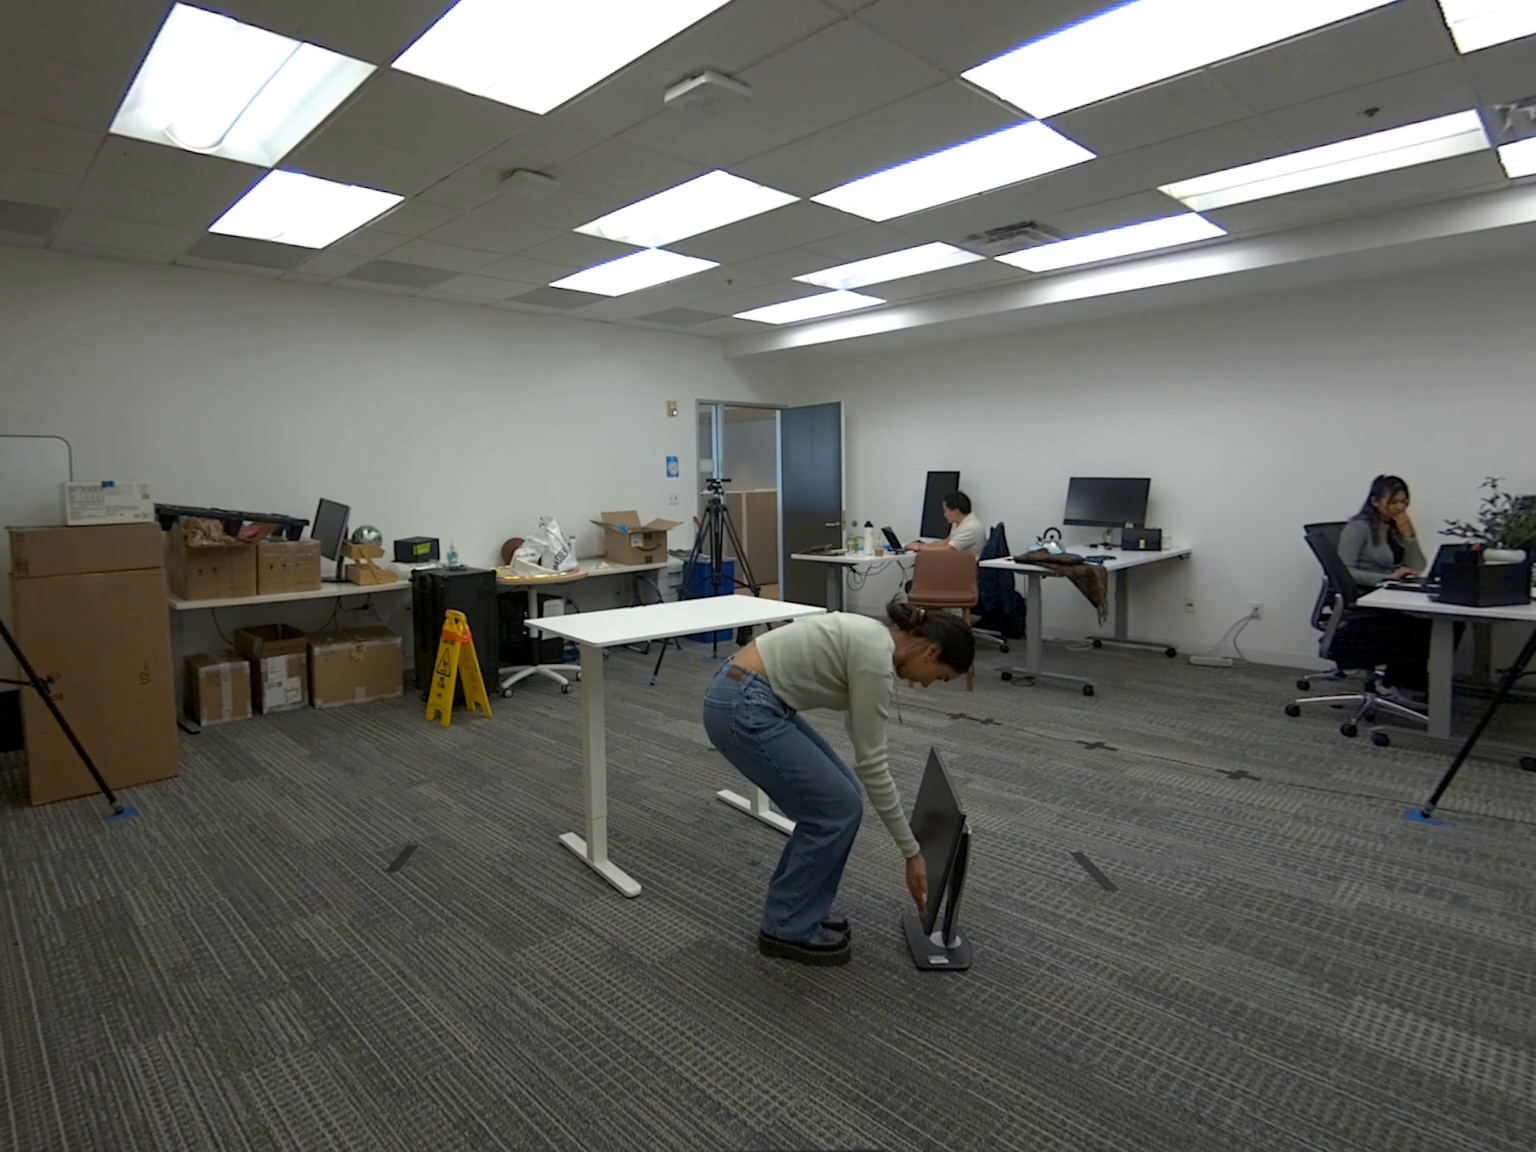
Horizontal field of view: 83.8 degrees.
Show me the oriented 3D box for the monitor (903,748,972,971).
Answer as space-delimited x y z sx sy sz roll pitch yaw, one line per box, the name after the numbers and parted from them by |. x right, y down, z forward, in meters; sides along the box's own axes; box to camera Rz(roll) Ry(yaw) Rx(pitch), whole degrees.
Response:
0.509 0.846 2.523 0.187 0.520 0.541 1 6 0 | monitor
